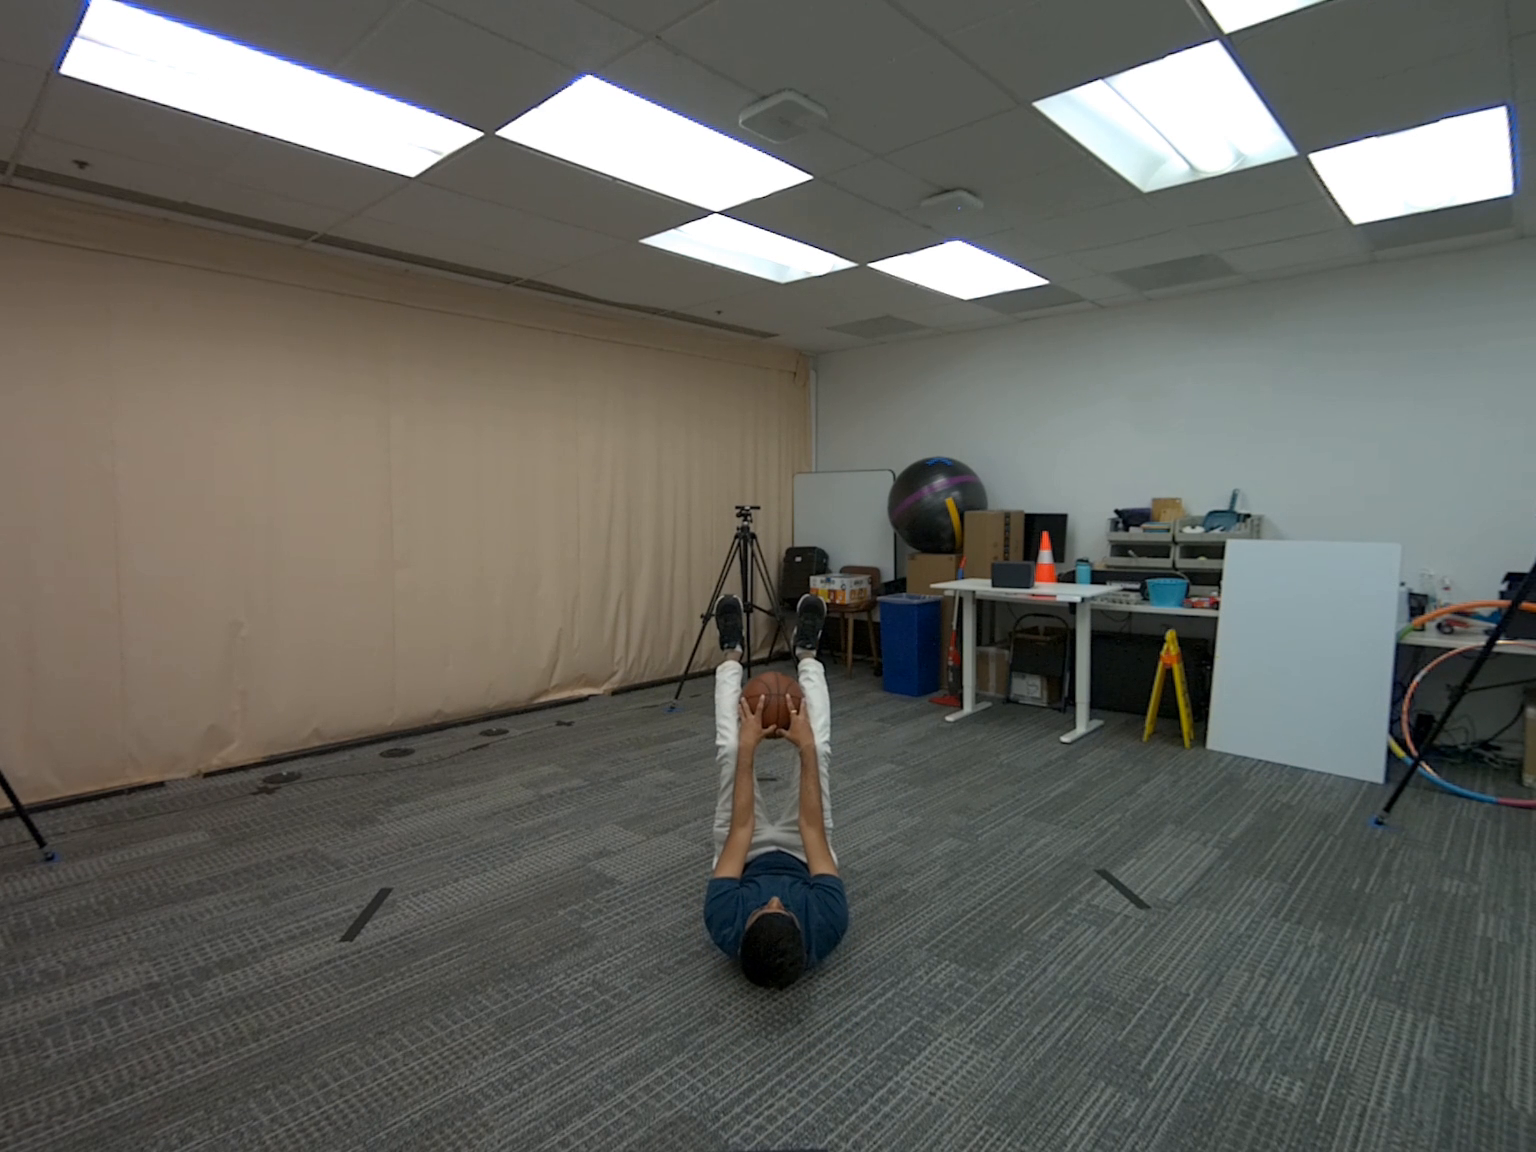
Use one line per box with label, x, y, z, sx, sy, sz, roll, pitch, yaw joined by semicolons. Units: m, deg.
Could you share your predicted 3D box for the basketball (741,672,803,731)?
basketball;0.022;0.458;3.016;0.236;0.235;0.237;0;4;-2
